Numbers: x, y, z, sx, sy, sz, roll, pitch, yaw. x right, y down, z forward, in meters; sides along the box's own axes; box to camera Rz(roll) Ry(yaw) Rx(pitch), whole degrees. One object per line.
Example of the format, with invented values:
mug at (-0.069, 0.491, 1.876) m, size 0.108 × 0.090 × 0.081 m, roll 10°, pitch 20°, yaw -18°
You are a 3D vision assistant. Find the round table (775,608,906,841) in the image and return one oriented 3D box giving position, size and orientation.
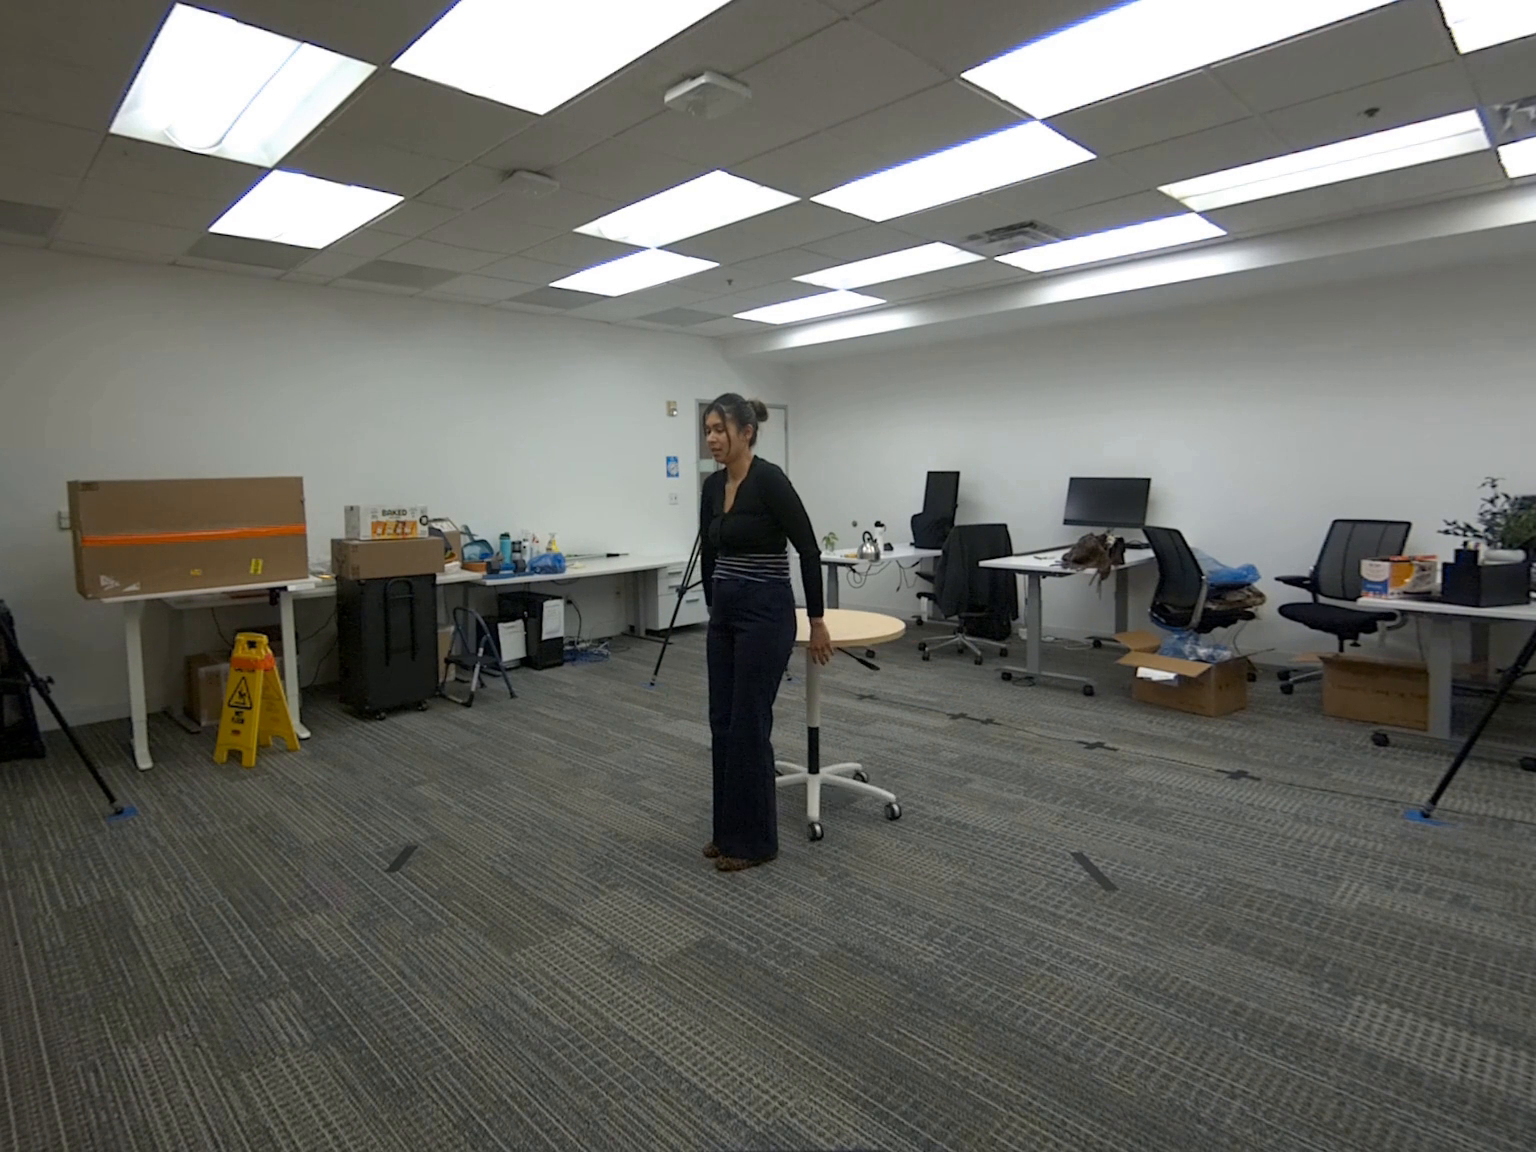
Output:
round table at (0.196, 0.591, 3.628) m, size 0.763 × 0.791 × 0.768 m, roll -1°, pitch 5°, yaw -2°
